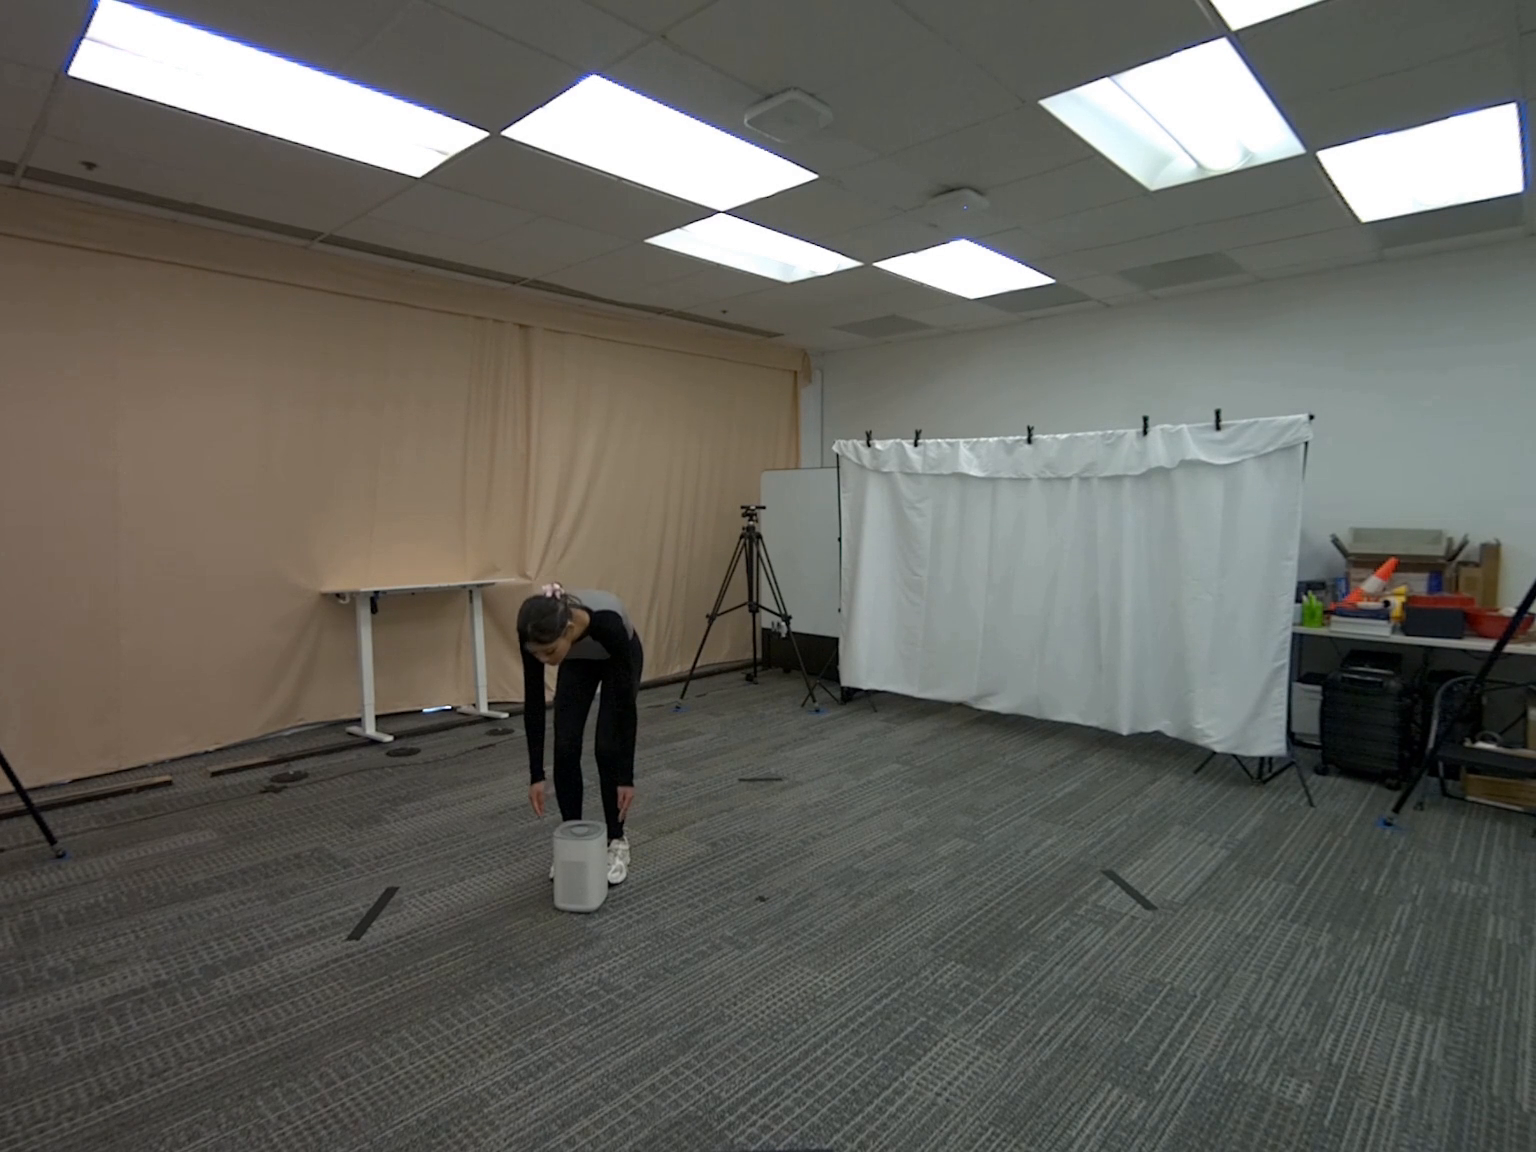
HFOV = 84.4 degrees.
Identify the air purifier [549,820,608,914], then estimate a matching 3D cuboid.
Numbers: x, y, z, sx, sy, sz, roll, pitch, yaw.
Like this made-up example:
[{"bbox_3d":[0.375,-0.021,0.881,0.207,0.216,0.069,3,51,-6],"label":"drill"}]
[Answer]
[{"bbox_3d":[-0.655,1.010,2.958,0.173,0.265,0.170,1,4,6],"label":"air purifier"}]
